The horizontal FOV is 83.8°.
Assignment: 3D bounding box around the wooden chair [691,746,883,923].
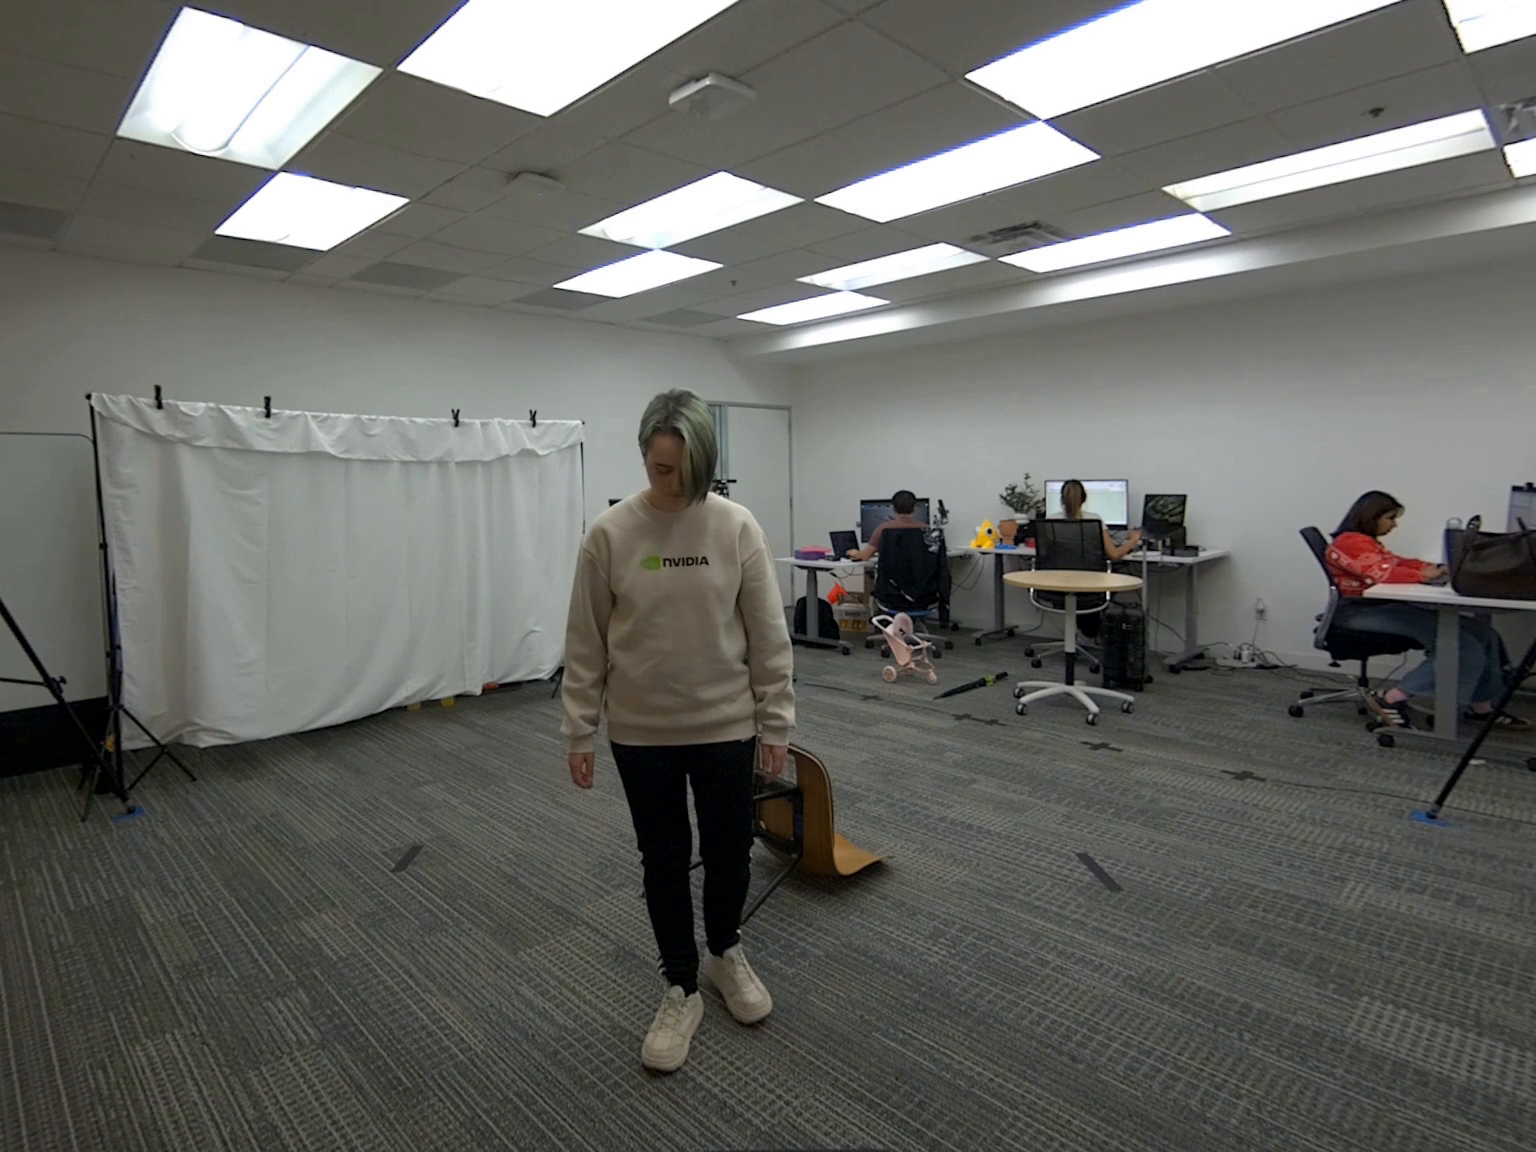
[{"bbox_3d":[0.028,0.810,2.917,0.854,0.521,0.493,-4,6,-37],"label":"wooden chair"}]
